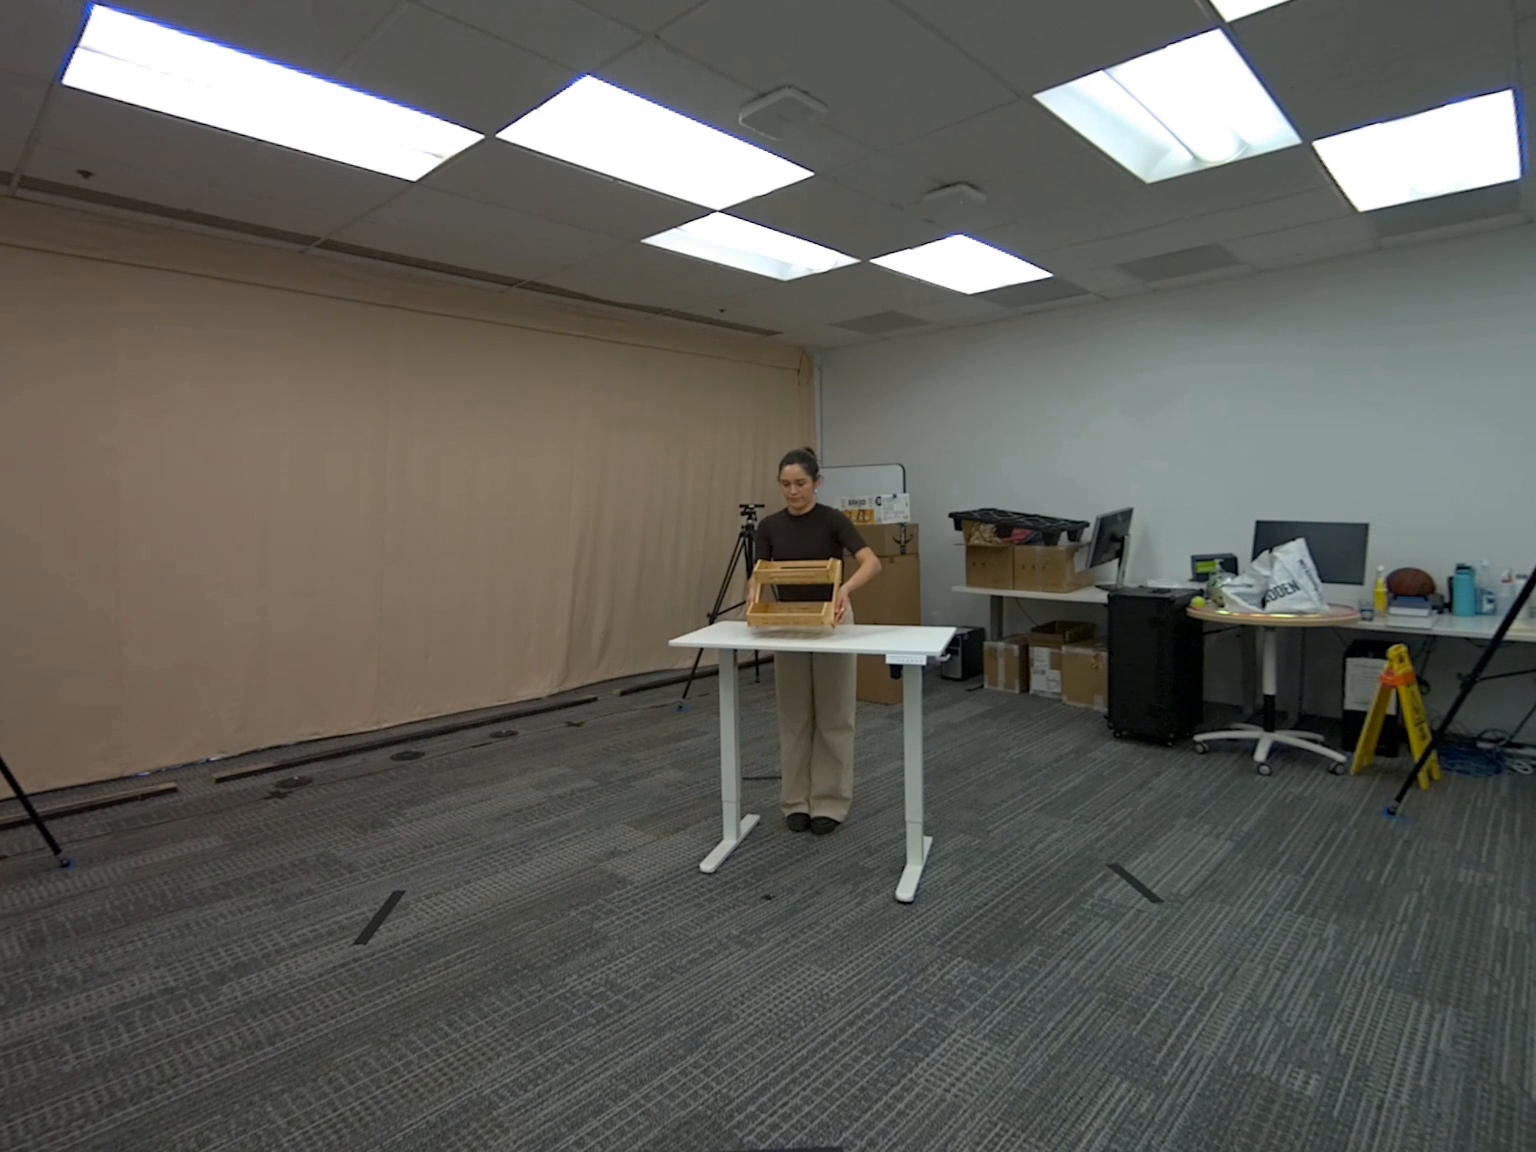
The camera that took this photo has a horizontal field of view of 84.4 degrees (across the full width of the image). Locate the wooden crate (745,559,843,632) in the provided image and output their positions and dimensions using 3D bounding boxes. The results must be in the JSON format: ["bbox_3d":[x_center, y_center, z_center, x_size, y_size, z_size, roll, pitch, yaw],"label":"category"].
[{"bbox_3d":[0.106,0.063,3.286,0.331,0.274,0.295,-1,-3,19],"label":"wooden crate"}]
